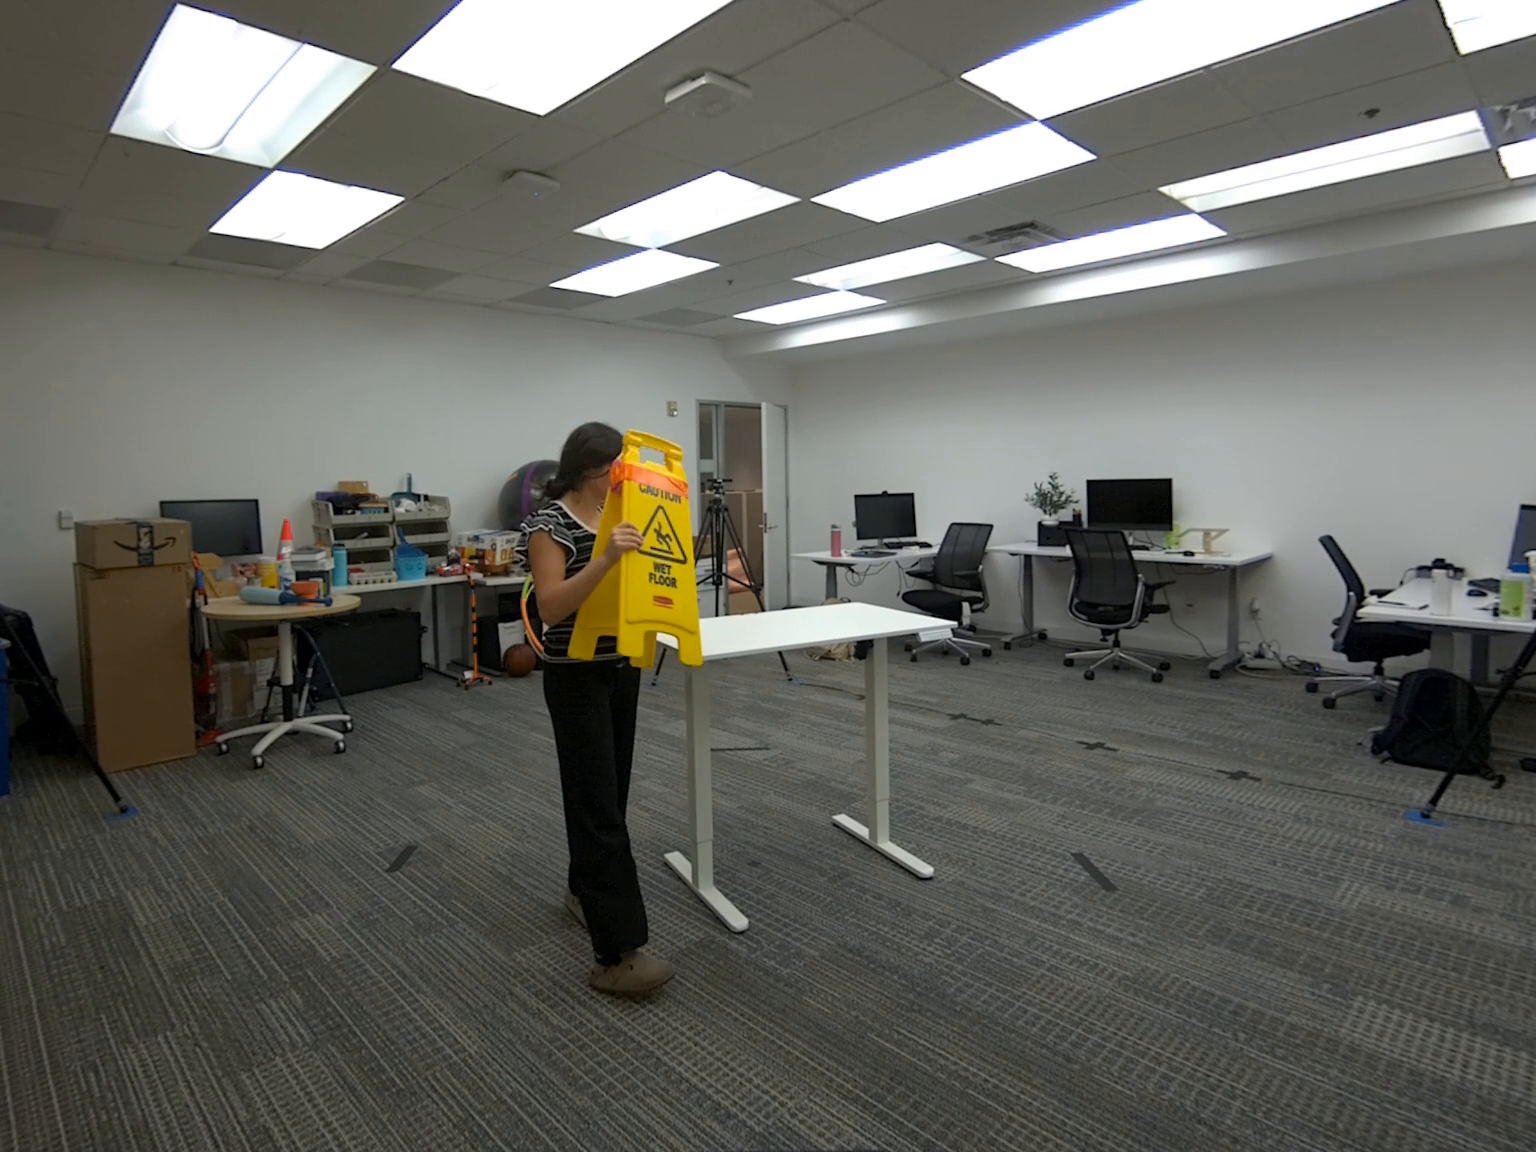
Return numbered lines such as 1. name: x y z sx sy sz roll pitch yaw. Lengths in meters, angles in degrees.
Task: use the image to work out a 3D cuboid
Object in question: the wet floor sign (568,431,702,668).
1. wet floor sign: -0.354 -0.085 2.412 0.272 0.654 0.296 16 -18 -40
